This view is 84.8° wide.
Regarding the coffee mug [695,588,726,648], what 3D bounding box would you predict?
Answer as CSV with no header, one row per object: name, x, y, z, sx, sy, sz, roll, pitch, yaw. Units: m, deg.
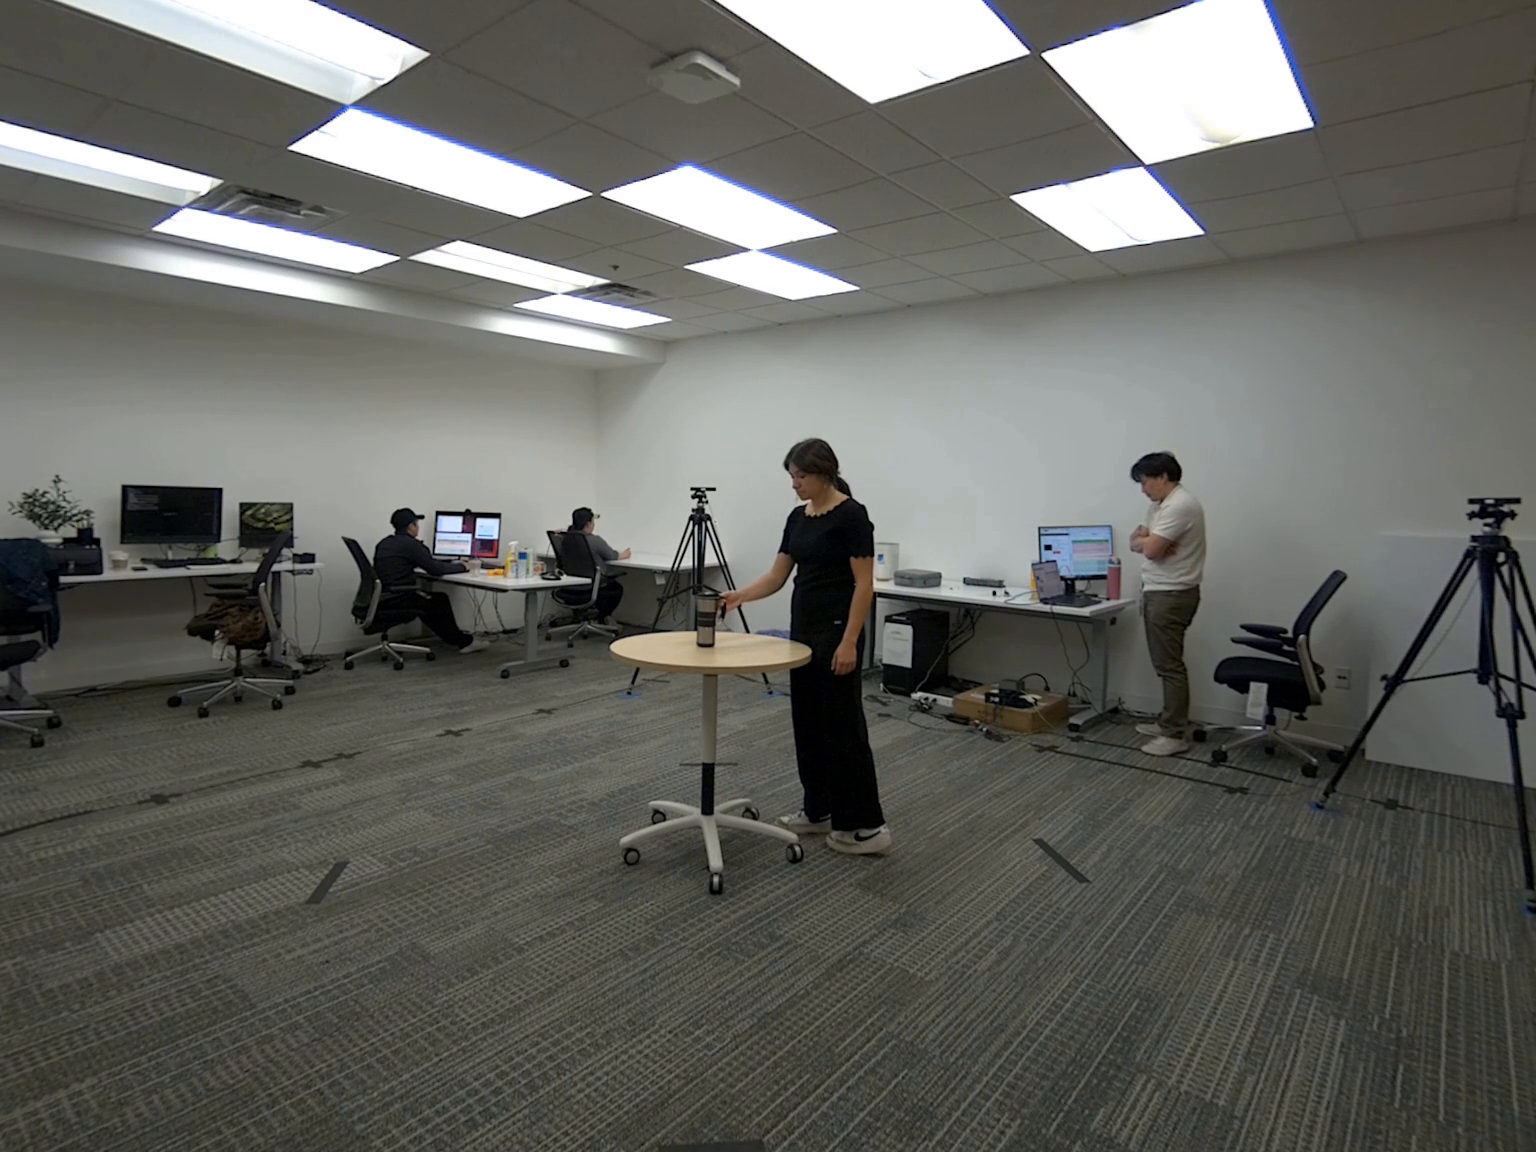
coffee mug,-0.225,0.167,3.253,0.125,0.204,0.085,-1,-5,28
